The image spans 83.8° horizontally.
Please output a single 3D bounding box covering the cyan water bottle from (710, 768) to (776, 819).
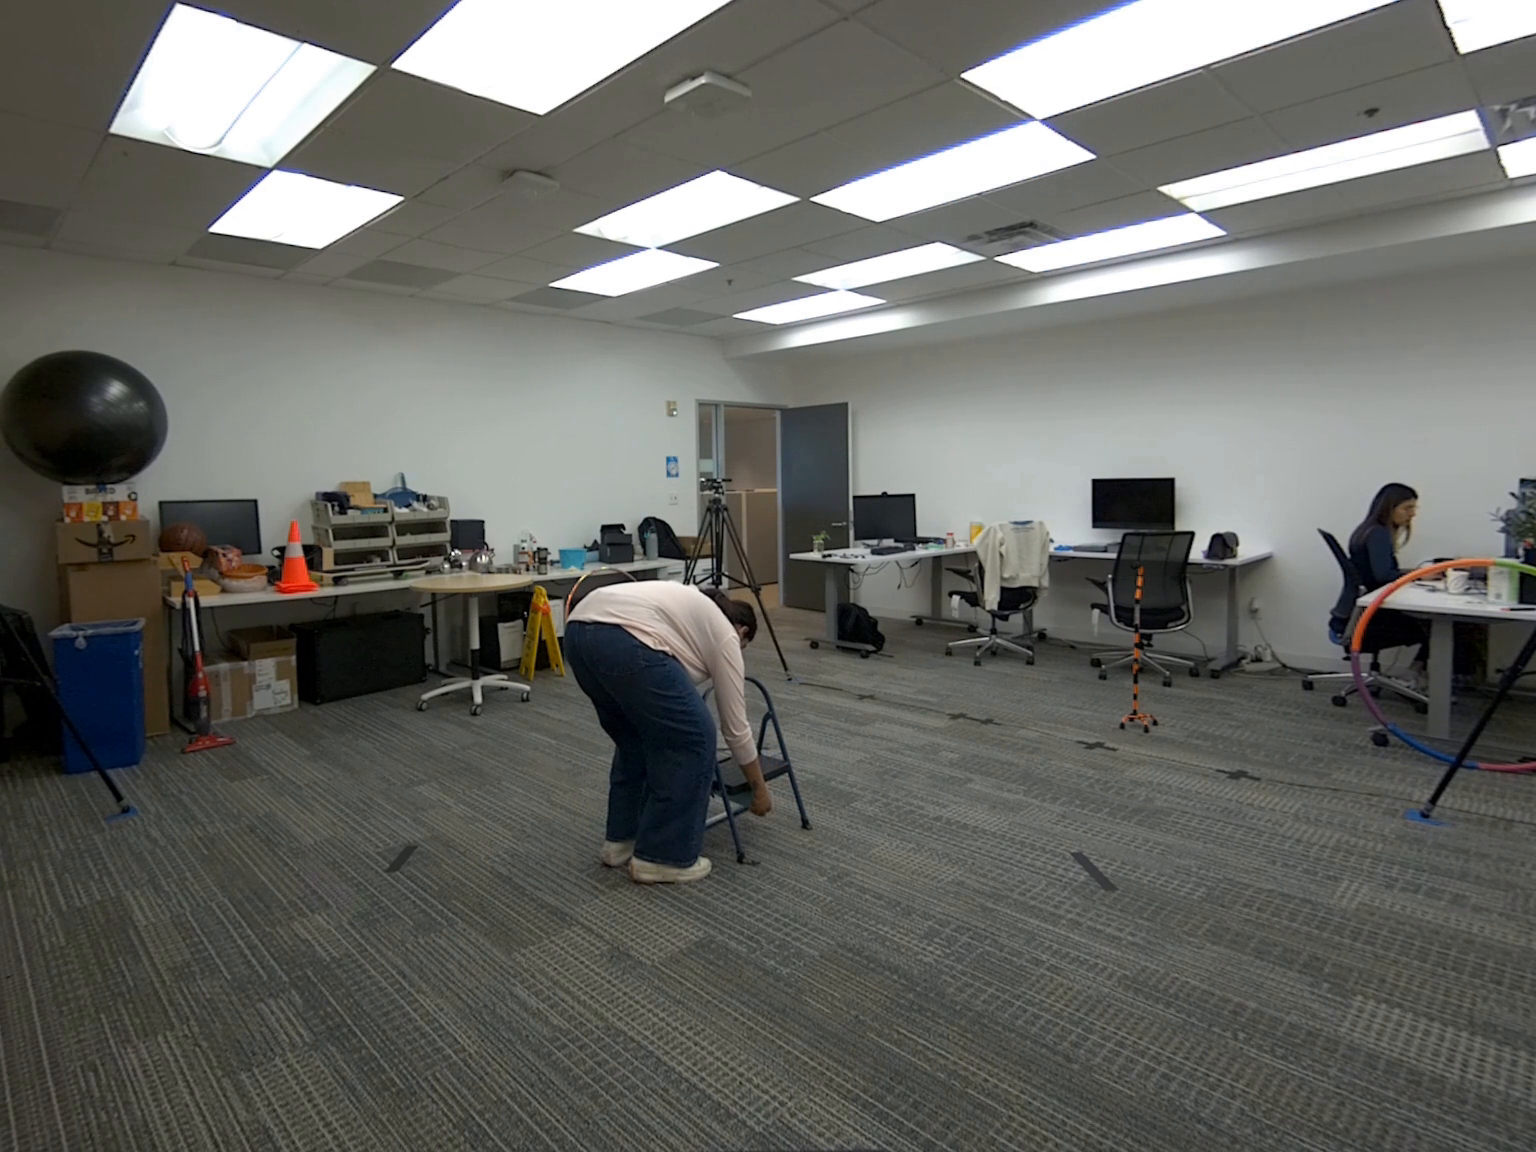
[{"bbox_3d":[-0.113,0.847,3.357,0.292,0.092,0.090,7,9,42],"label":"cyan water bottle"}]
